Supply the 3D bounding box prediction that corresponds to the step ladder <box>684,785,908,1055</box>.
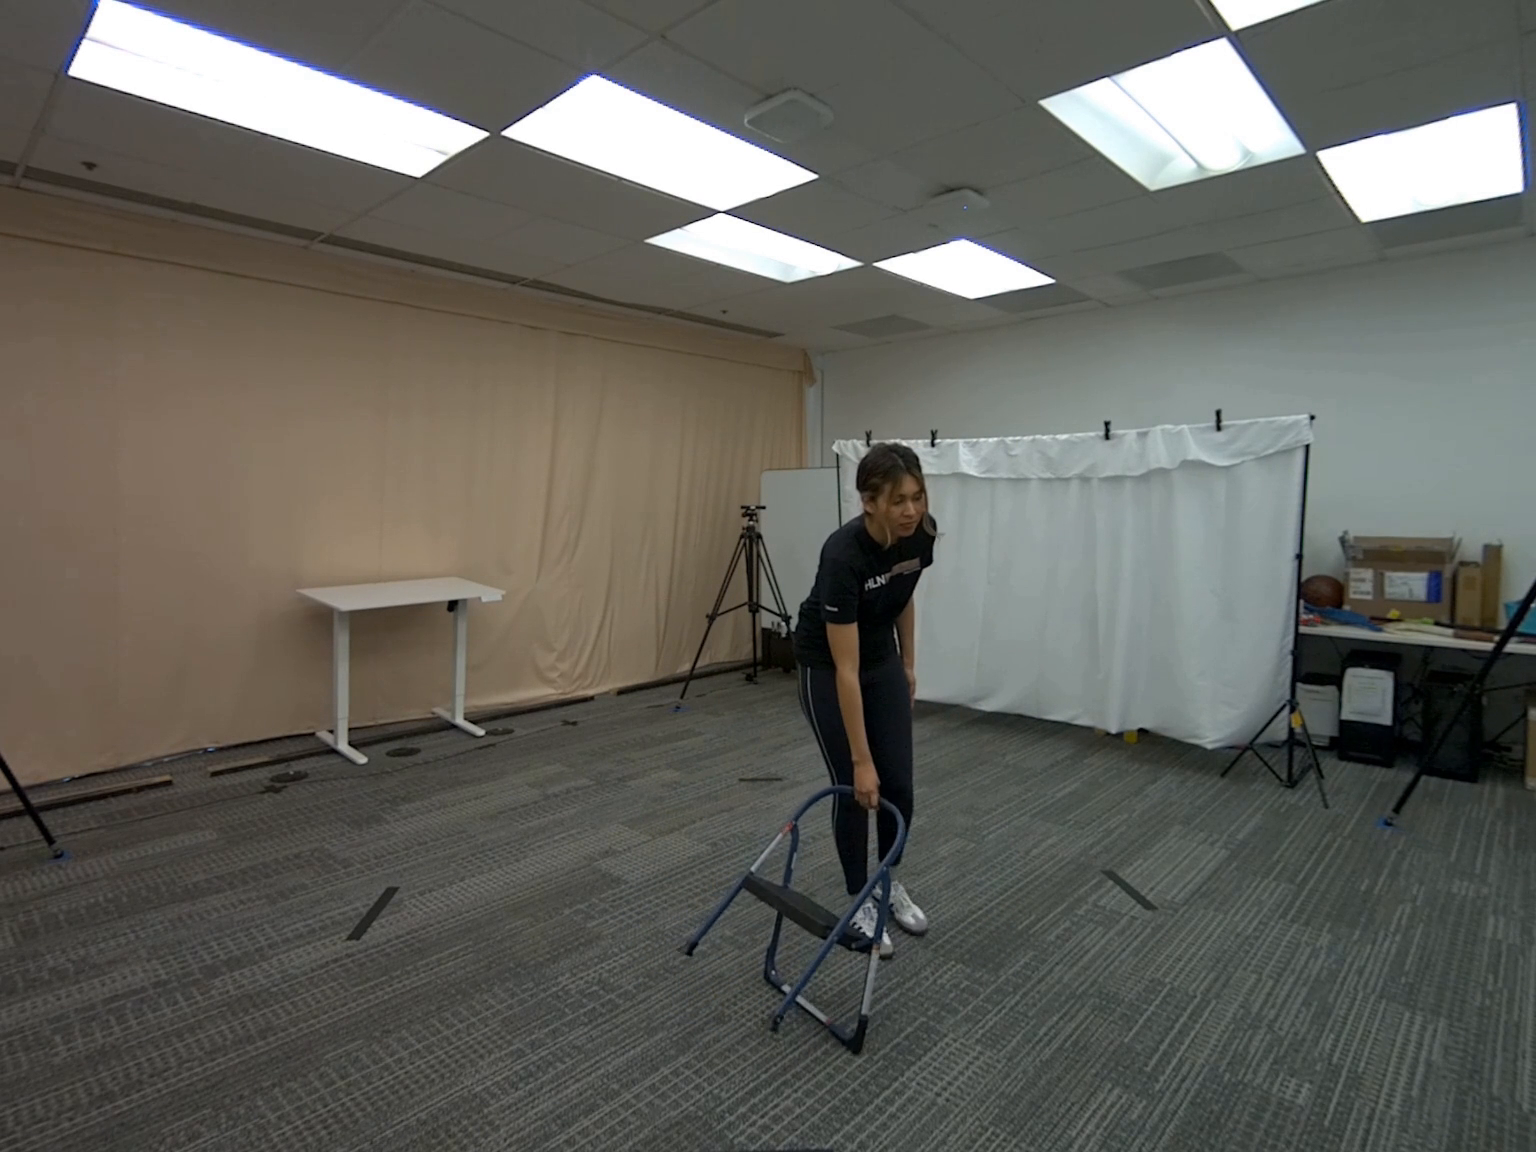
[{"bbox_3d":[0.123,0.861,2.295,0.338,0.607,0.444,34,-15,-32],"label":"step ladder"}]
